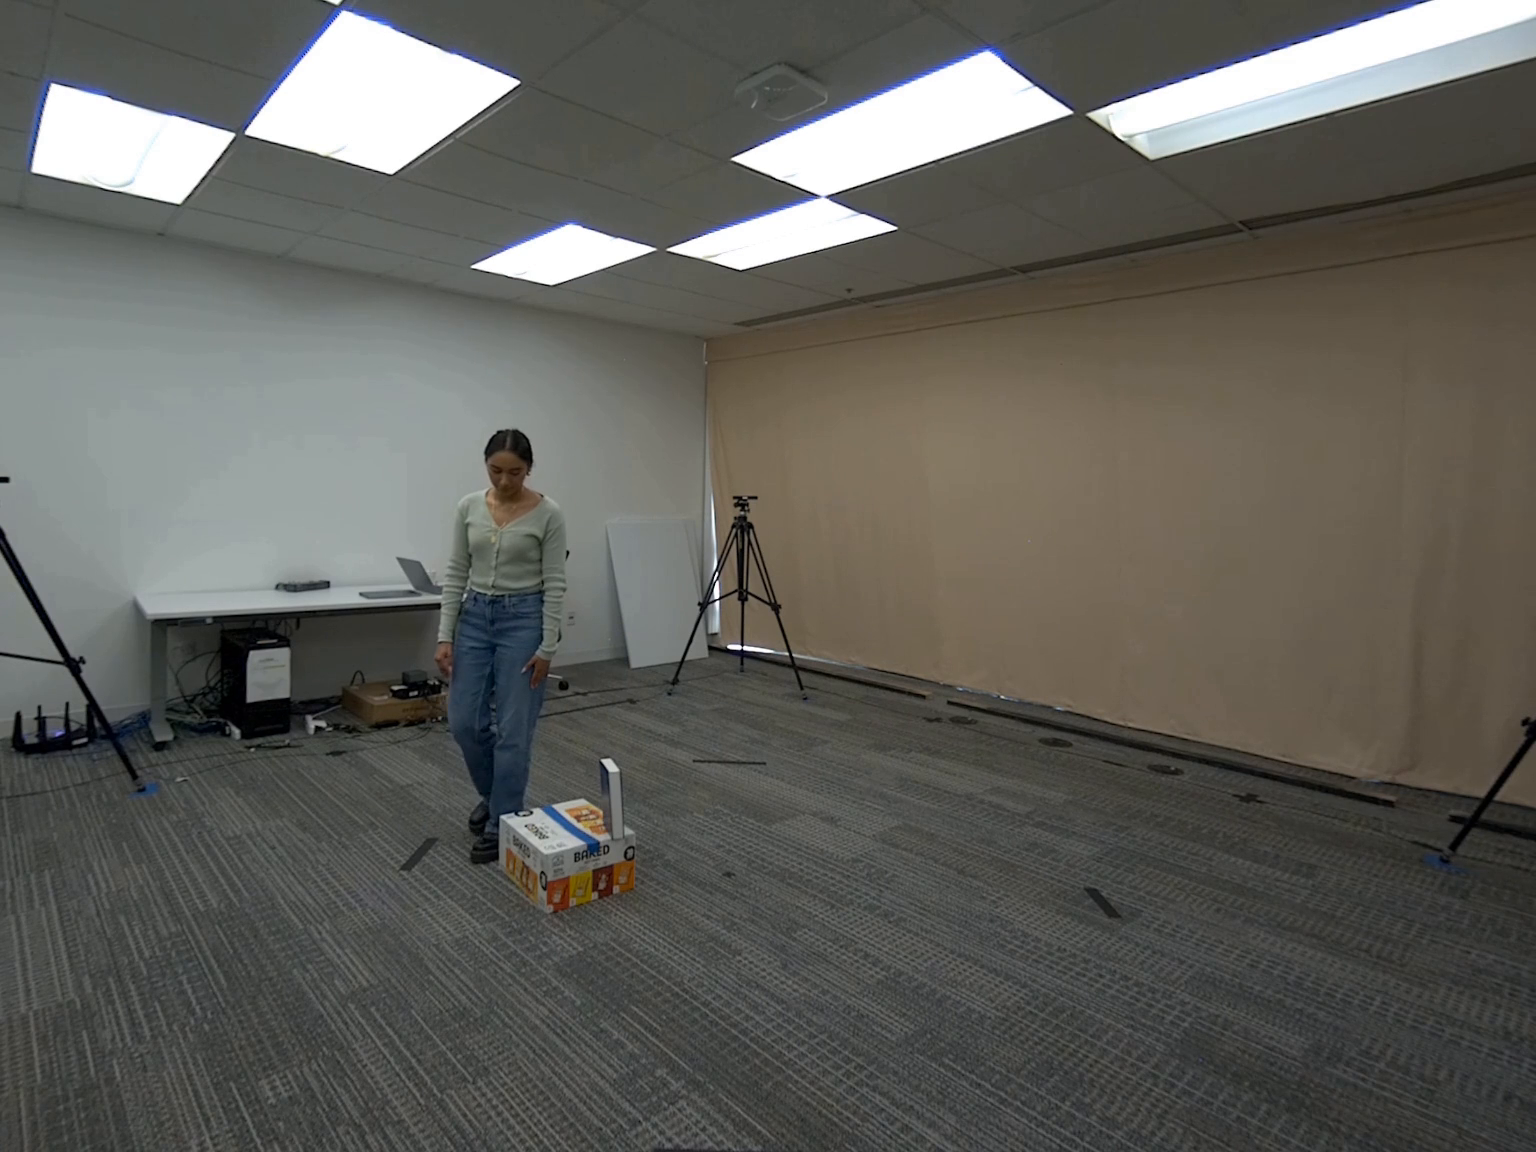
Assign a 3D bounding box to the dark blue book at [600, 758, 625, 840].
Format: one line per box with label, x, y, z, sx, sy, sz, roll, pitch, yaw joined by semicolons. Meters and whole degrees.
dark blue book;-0.560;0.784;2.973;0.044;0.244;0.166;-3;3;-21
